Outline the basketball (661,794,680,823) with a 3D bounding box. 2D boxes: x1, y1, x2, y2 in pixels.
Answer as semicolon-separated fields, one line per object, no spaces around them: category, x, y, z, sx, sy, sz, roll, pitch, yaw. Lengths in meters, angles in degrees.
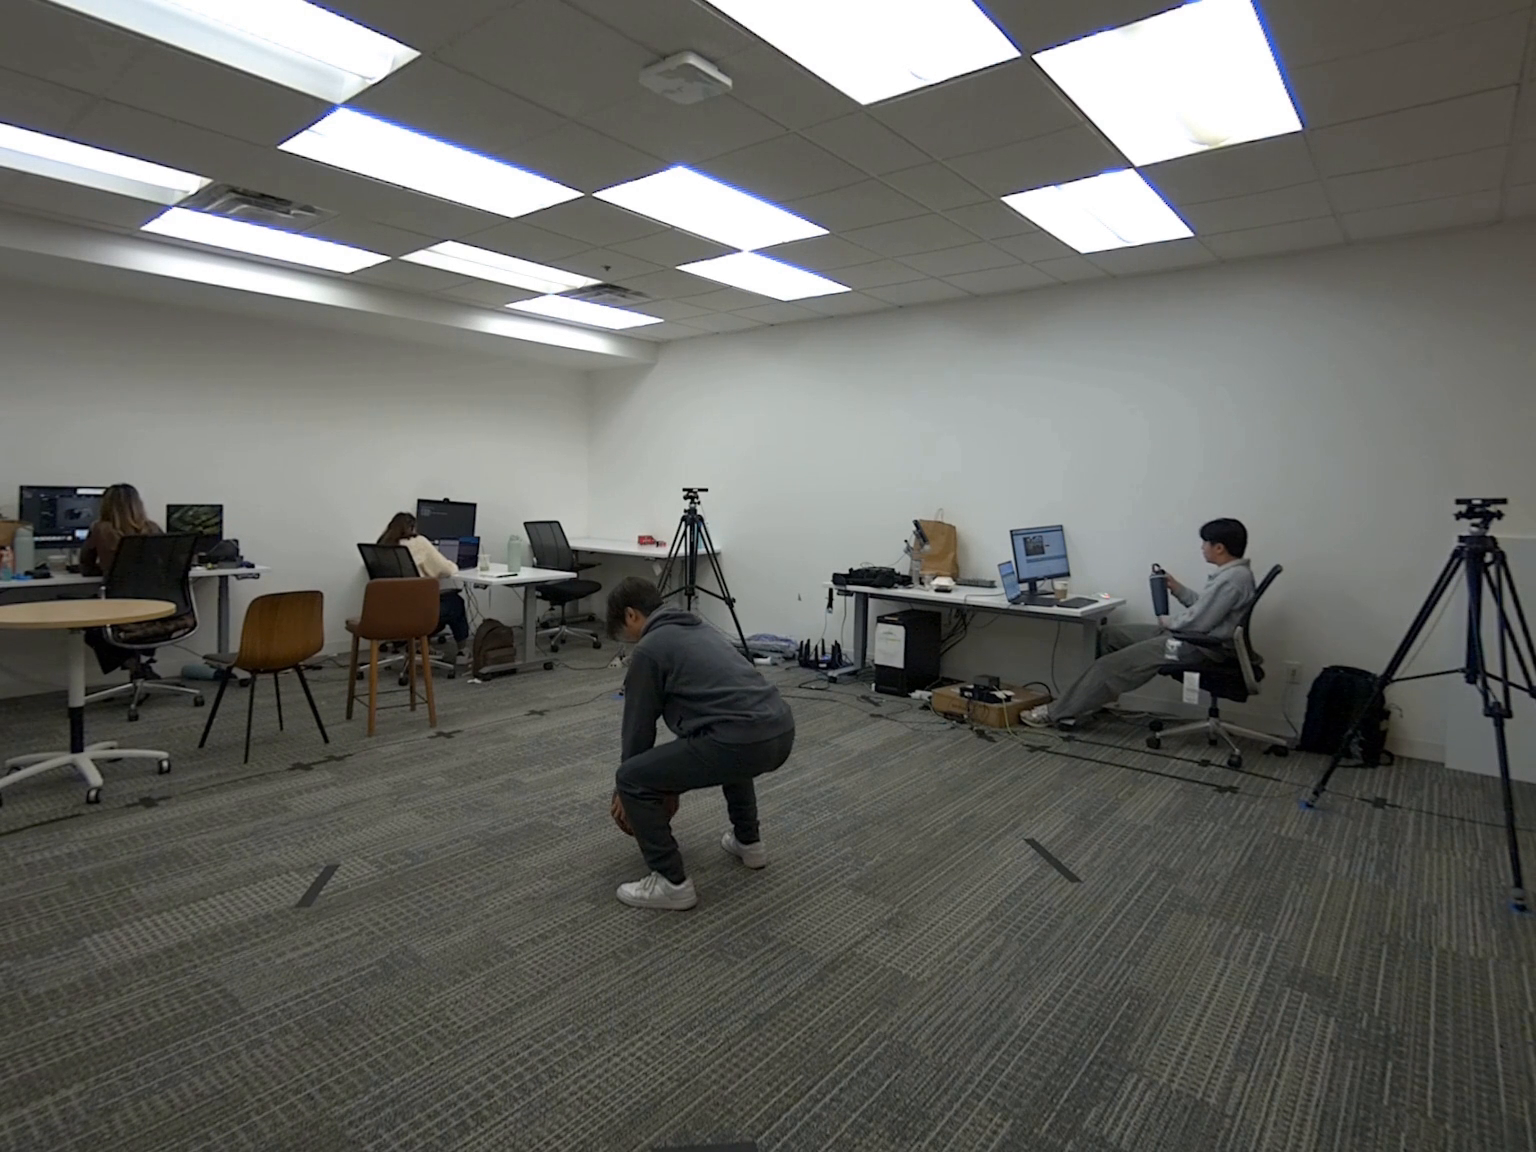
basketball;-0.472;0.845;3.214;0.235;0.235;0.237;1;4;-2
